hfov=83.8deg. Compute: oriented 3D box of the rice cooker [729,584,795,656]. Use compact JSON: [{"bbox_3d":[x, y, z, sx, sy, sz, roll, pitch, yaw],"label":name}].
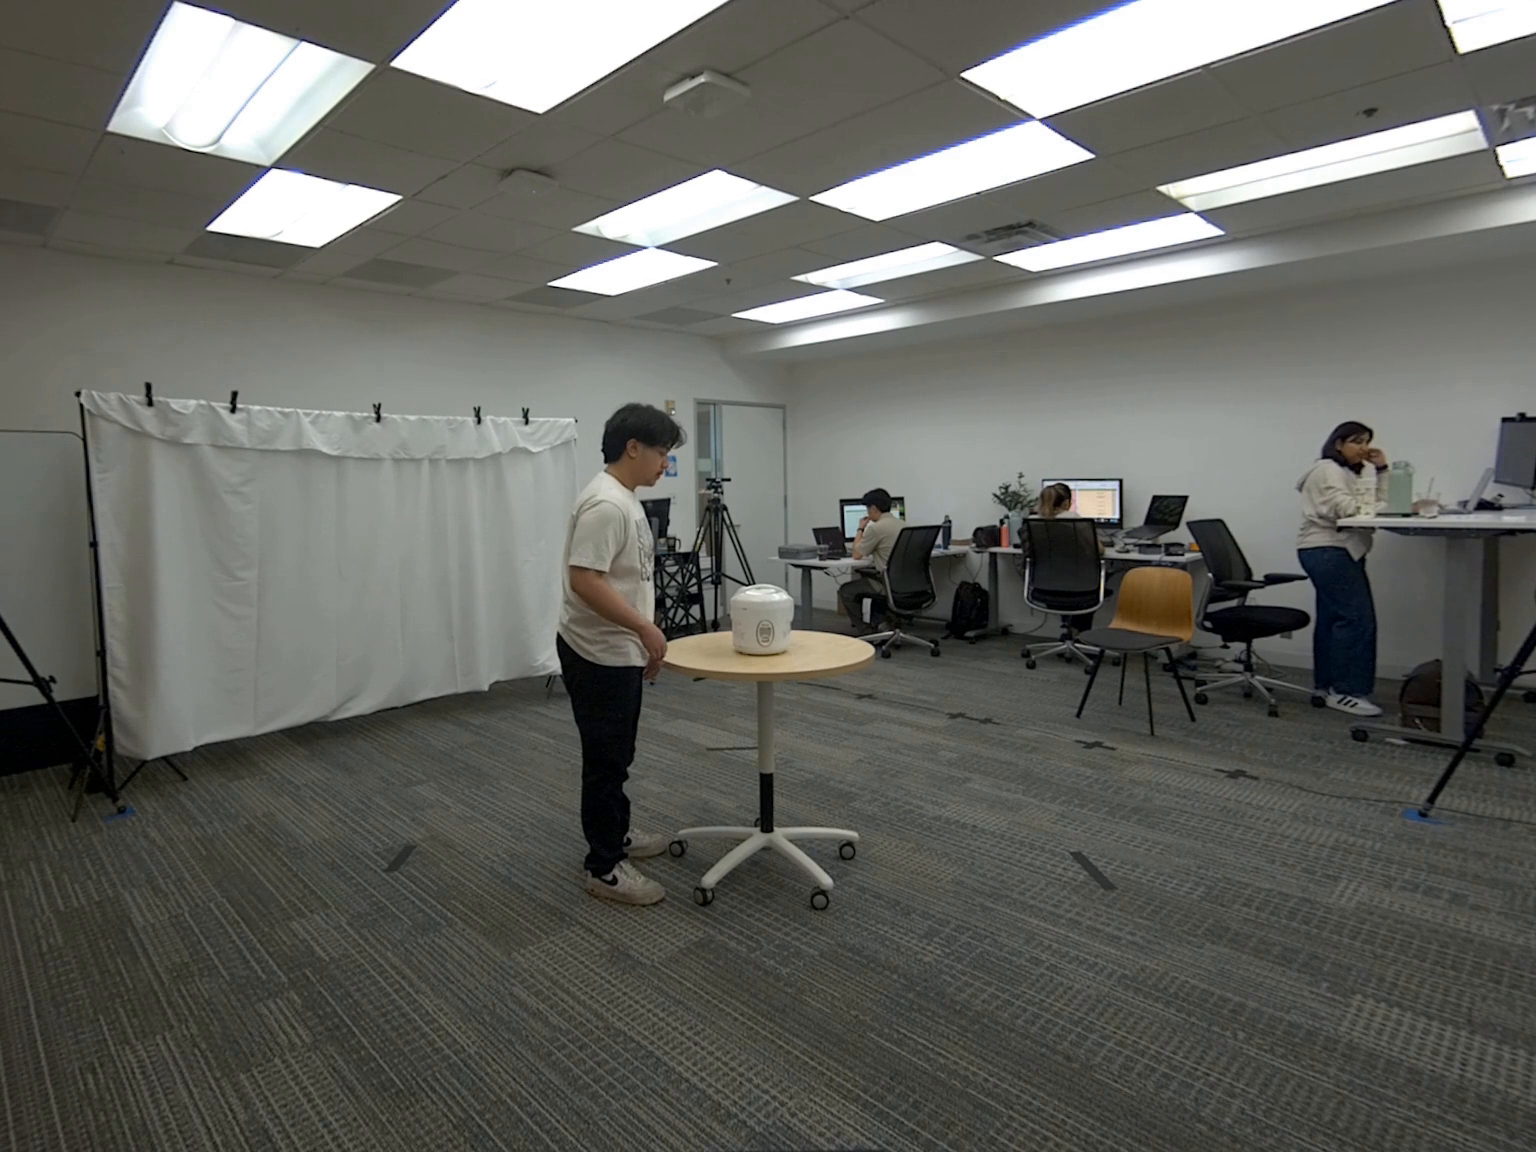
[{"bbox_3d":[-0.018,0.141,2.957,0.219,0.232,0.219,-2,4,-6],"label":"rice cooker"}]
